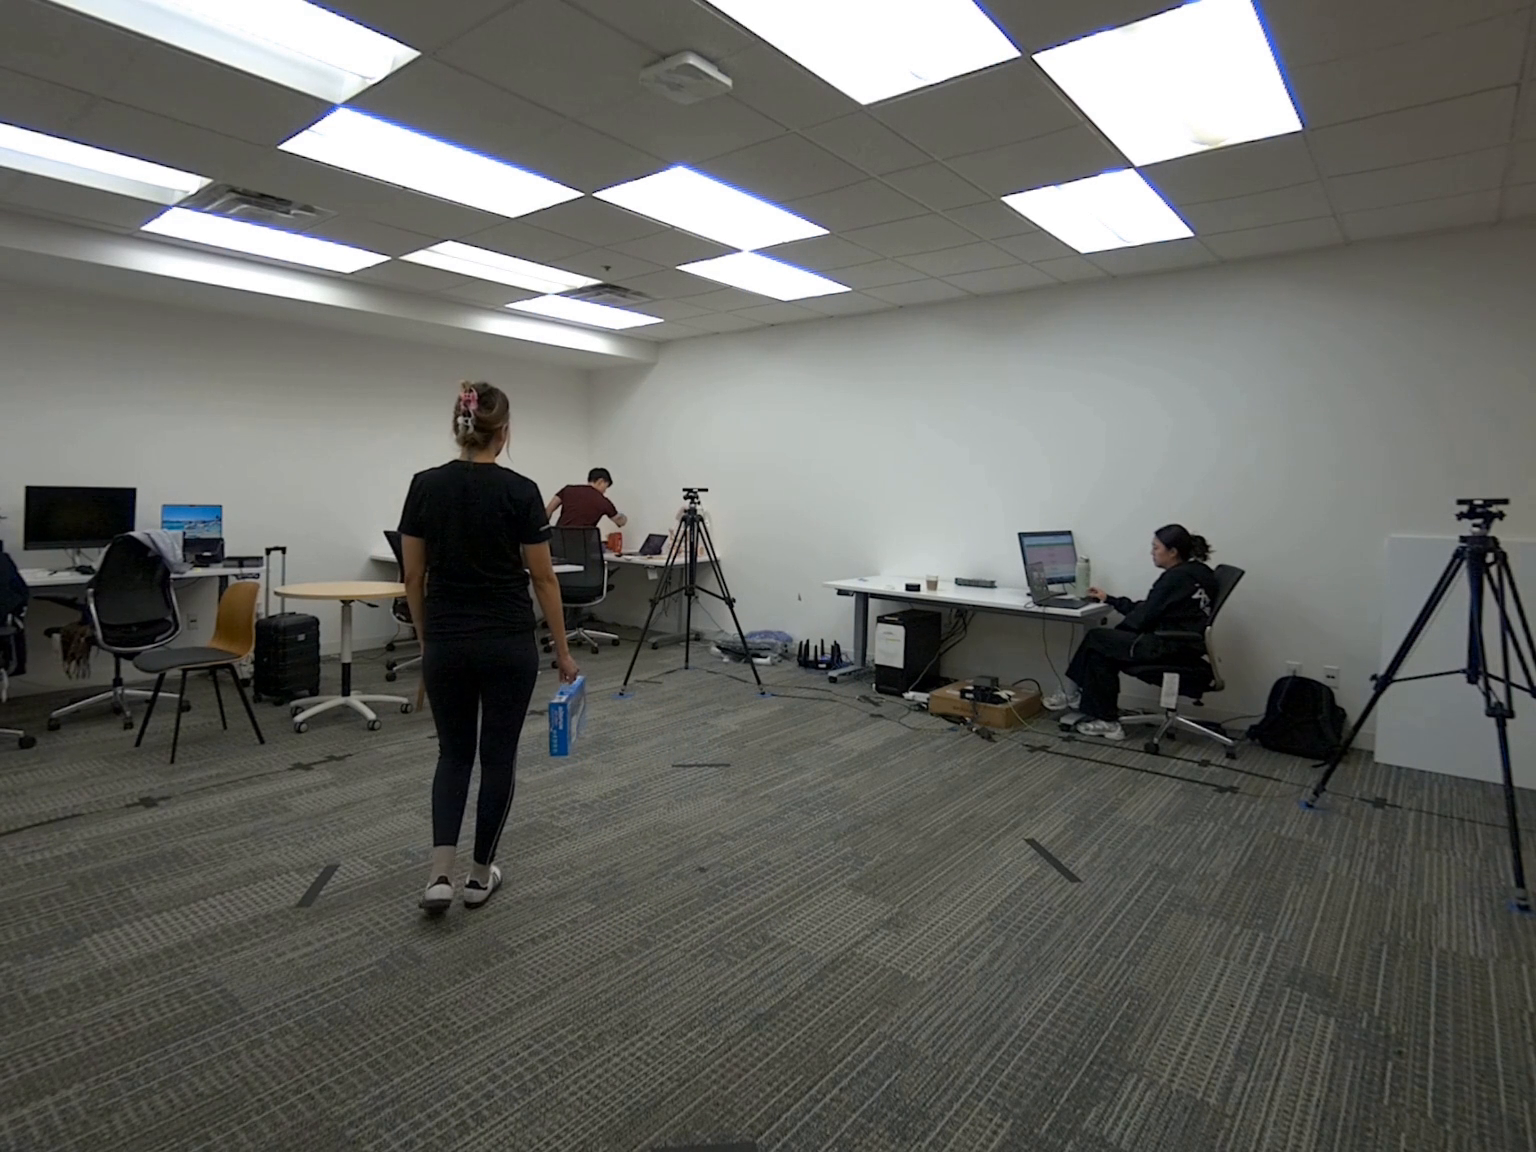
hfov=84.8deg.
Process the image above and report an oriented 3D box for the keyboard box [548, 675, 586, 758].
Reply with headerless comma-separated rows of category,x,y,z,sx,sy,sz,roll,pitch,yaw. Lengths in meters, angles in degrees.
keyboard box,-0.695,0.468,2.901,0.059,0.175,0.440,1,4,-6
